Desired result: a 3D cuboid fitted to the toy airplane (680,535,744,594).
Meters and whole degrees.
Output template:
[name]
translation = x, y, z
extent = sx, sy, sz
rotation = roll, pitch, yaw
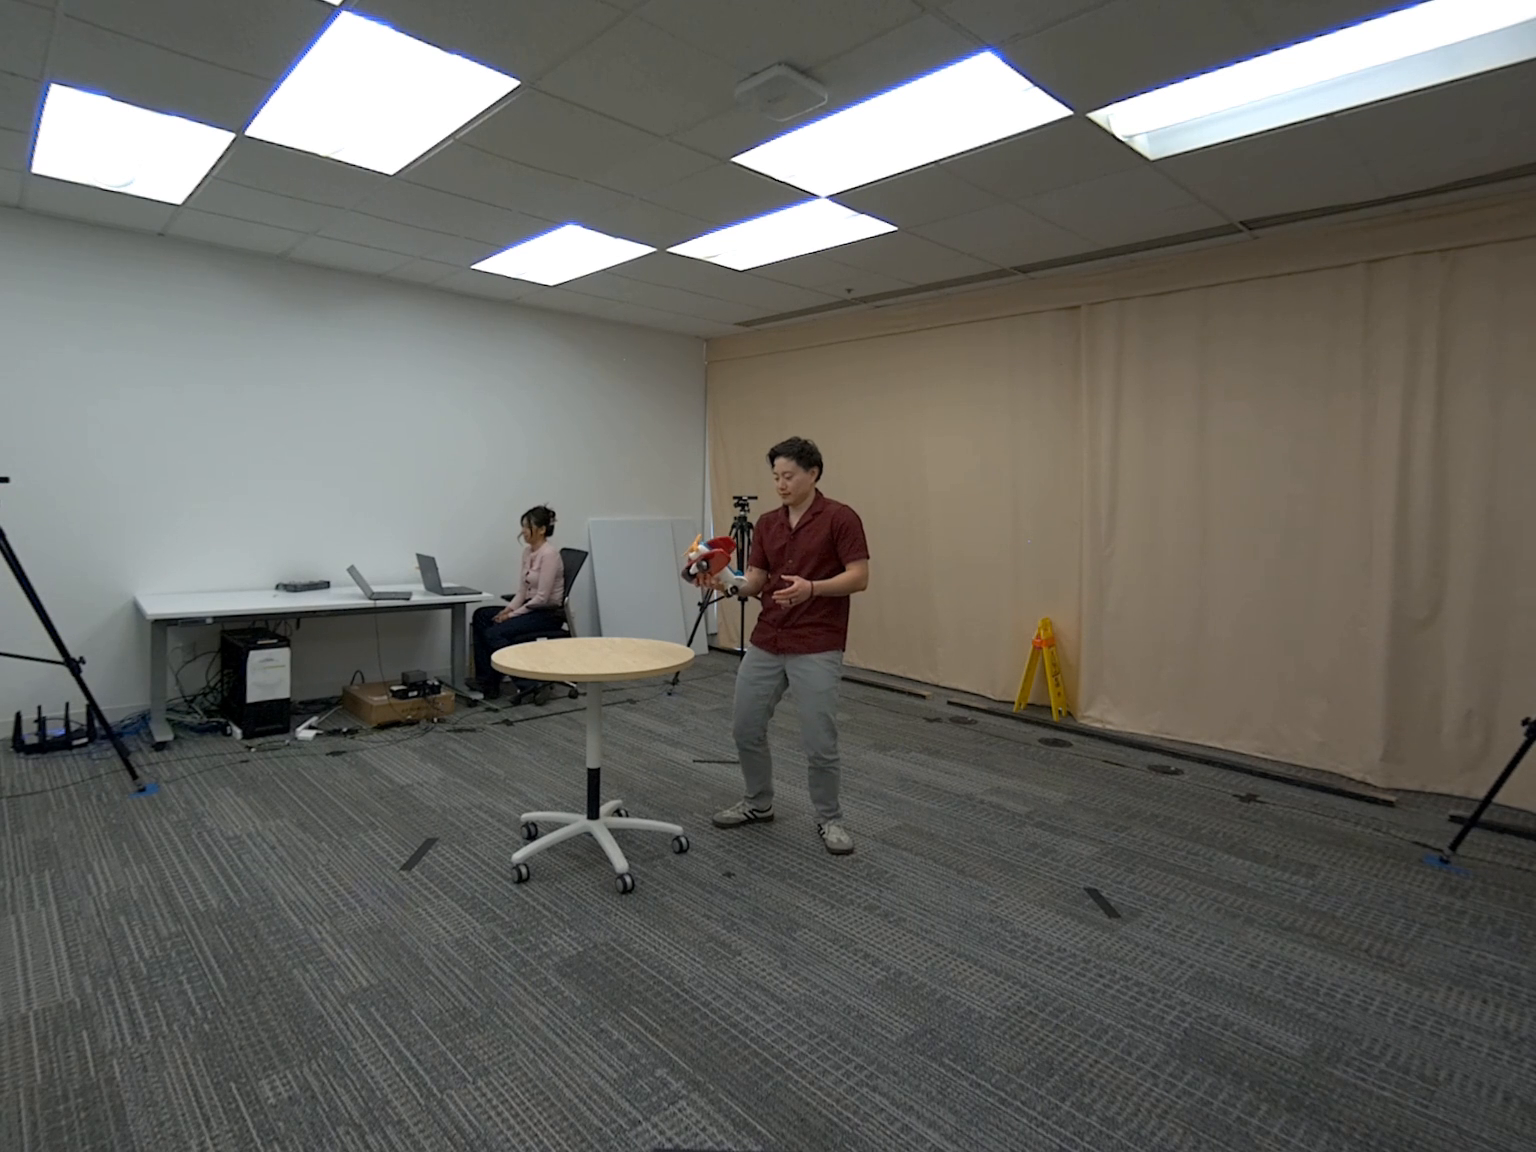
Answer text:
[toy airplane]
translation = -0.229, -0.021, 3.260
extent = 0.254, 0.159, 0.251
rotation = -8, -39, 19
